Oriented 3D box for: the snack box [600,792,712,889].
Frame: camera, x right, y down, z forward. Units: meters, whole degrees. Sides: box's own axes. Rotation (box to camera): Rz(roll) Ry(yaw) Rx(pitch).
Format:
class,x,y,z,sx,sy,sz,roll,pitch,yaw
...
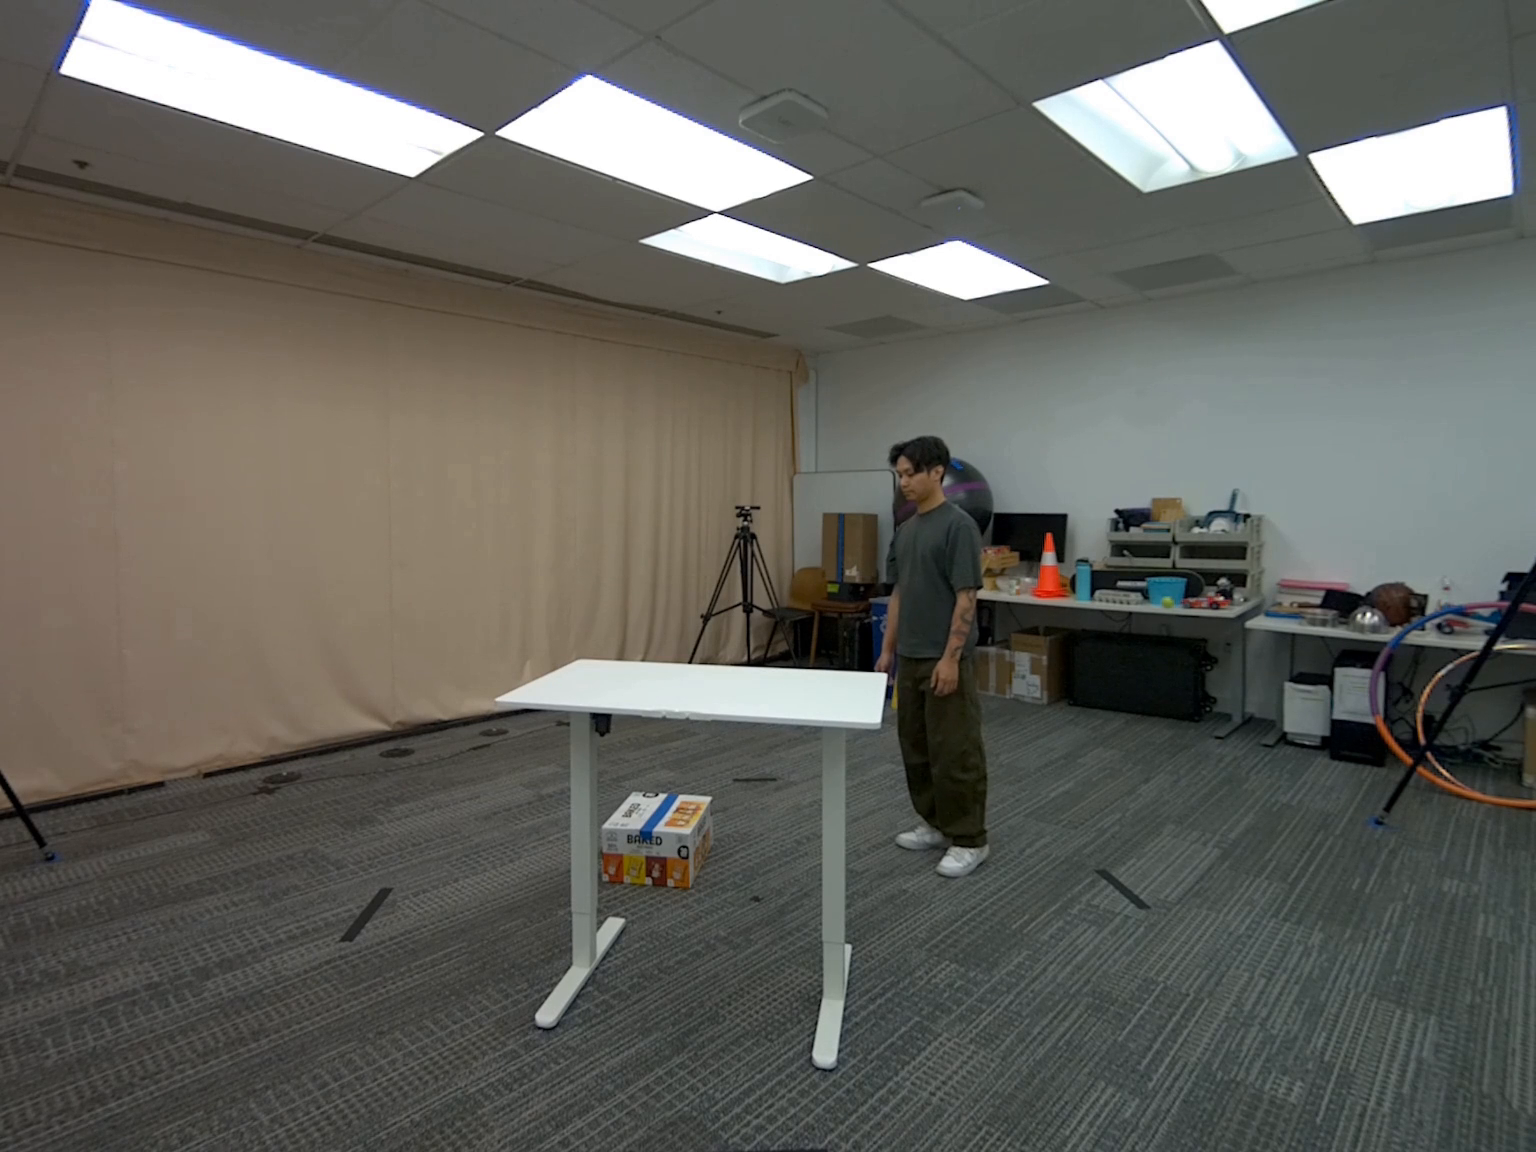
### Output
class,x,y,z,sx,sy,sz,roll,pitch,yaw
snack box,-0.421,1.022,3.291,0.344,0.205,0.401,0,5,10
